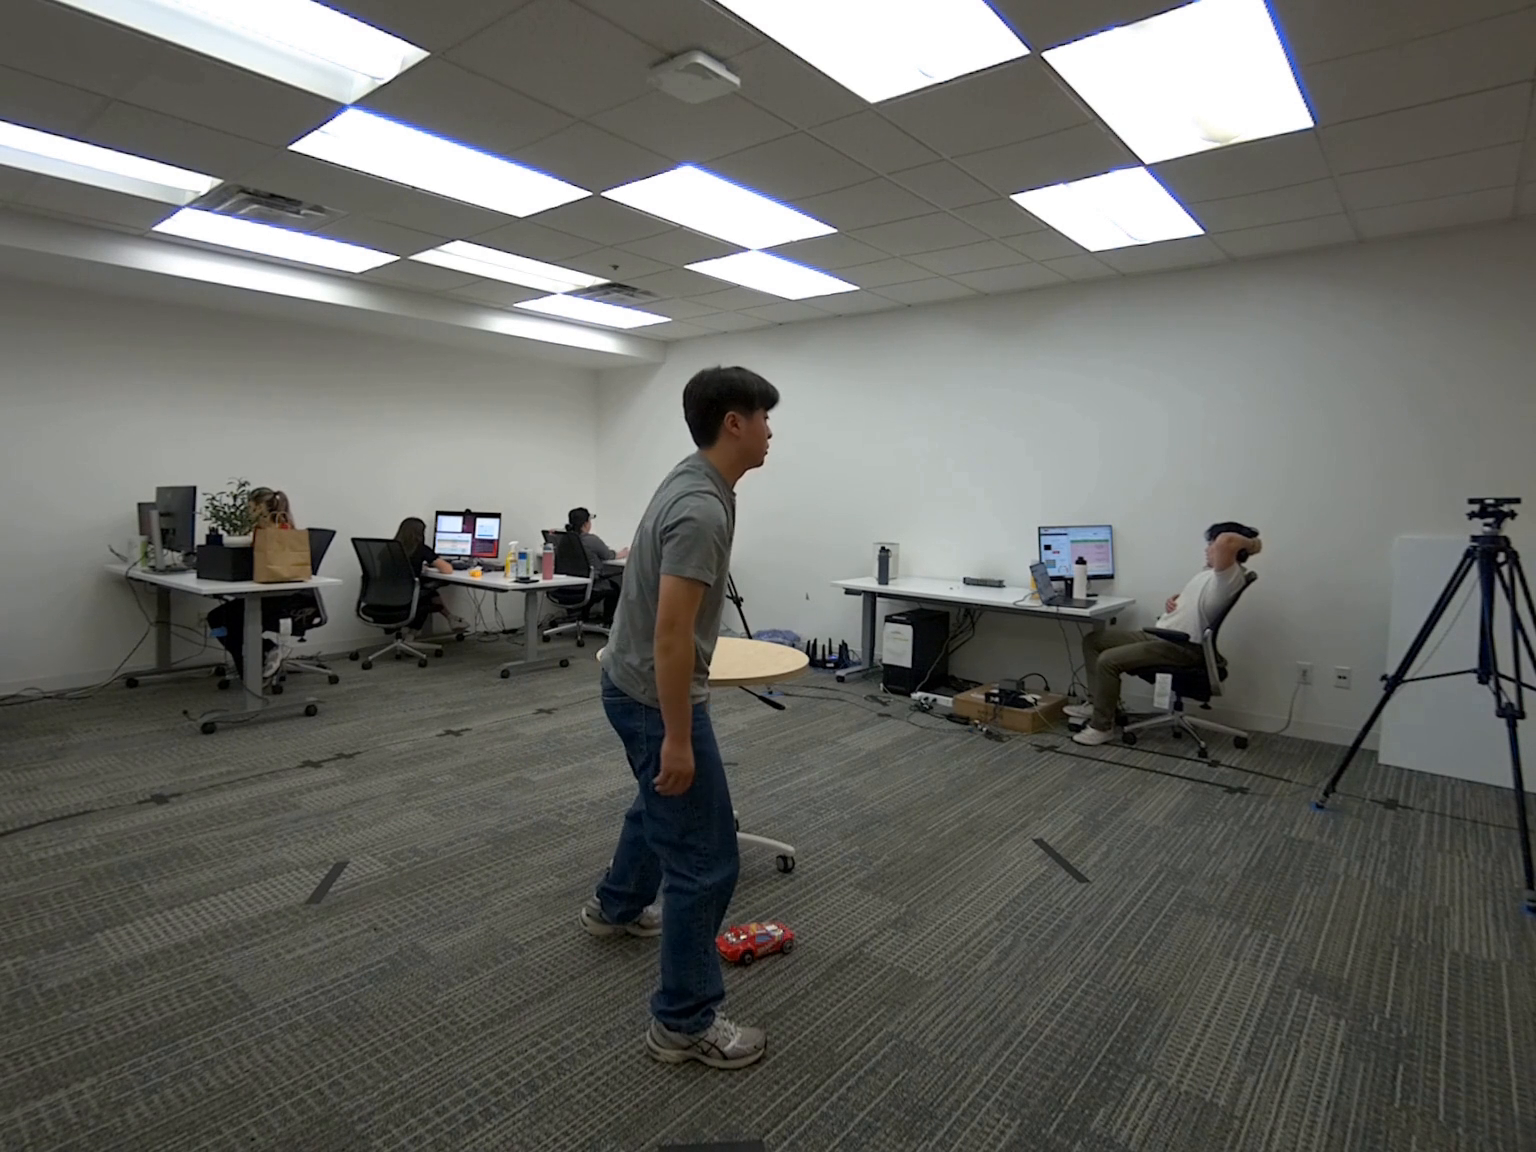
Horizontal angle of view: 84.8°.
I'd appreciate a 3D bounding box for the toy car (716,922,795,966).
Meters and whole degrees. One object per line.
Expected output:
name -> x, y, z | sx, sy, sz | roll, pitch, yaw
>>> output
toy car -> -0.056, 1.098, 2.539 | 0.247, 0.083, 0.134 | 11, 0, -30
